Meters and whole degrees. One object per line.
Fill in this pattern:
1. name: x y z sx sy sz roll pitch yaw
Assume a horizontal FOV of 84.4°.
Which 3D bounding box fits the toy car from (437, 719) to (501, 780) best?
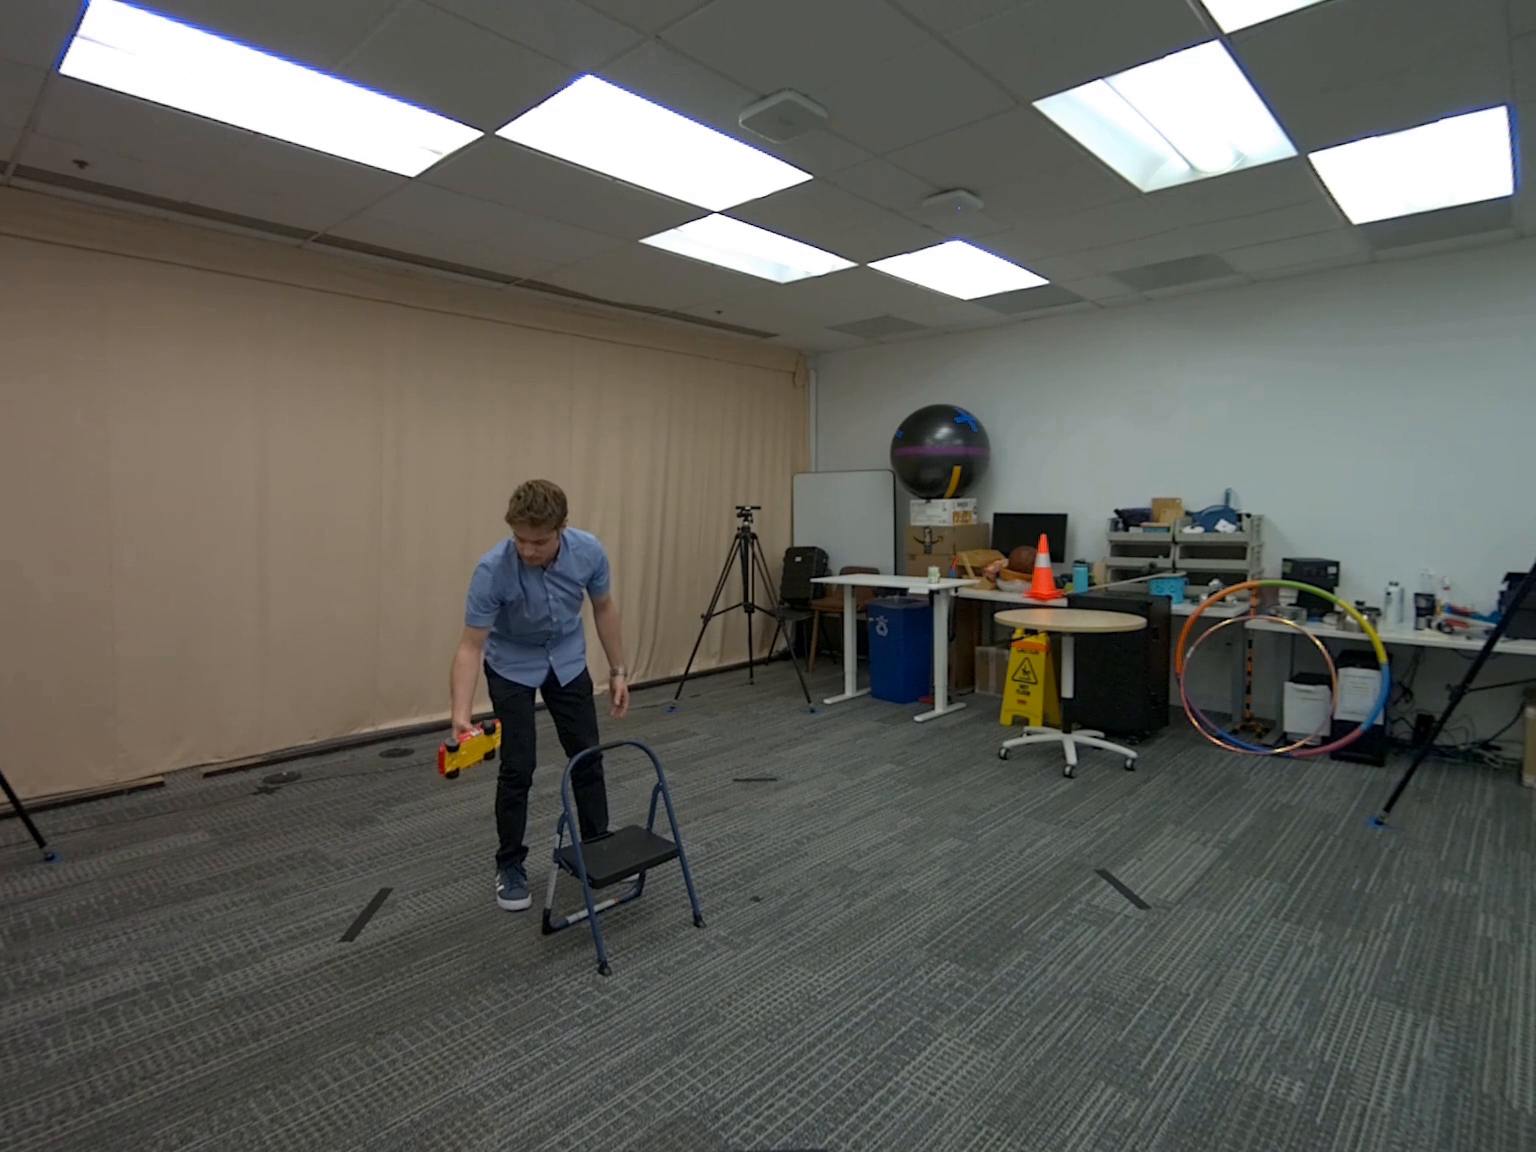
1. toy car: -0.891 0.516 2.562 0.085 0.129 0.251 11 17 16
